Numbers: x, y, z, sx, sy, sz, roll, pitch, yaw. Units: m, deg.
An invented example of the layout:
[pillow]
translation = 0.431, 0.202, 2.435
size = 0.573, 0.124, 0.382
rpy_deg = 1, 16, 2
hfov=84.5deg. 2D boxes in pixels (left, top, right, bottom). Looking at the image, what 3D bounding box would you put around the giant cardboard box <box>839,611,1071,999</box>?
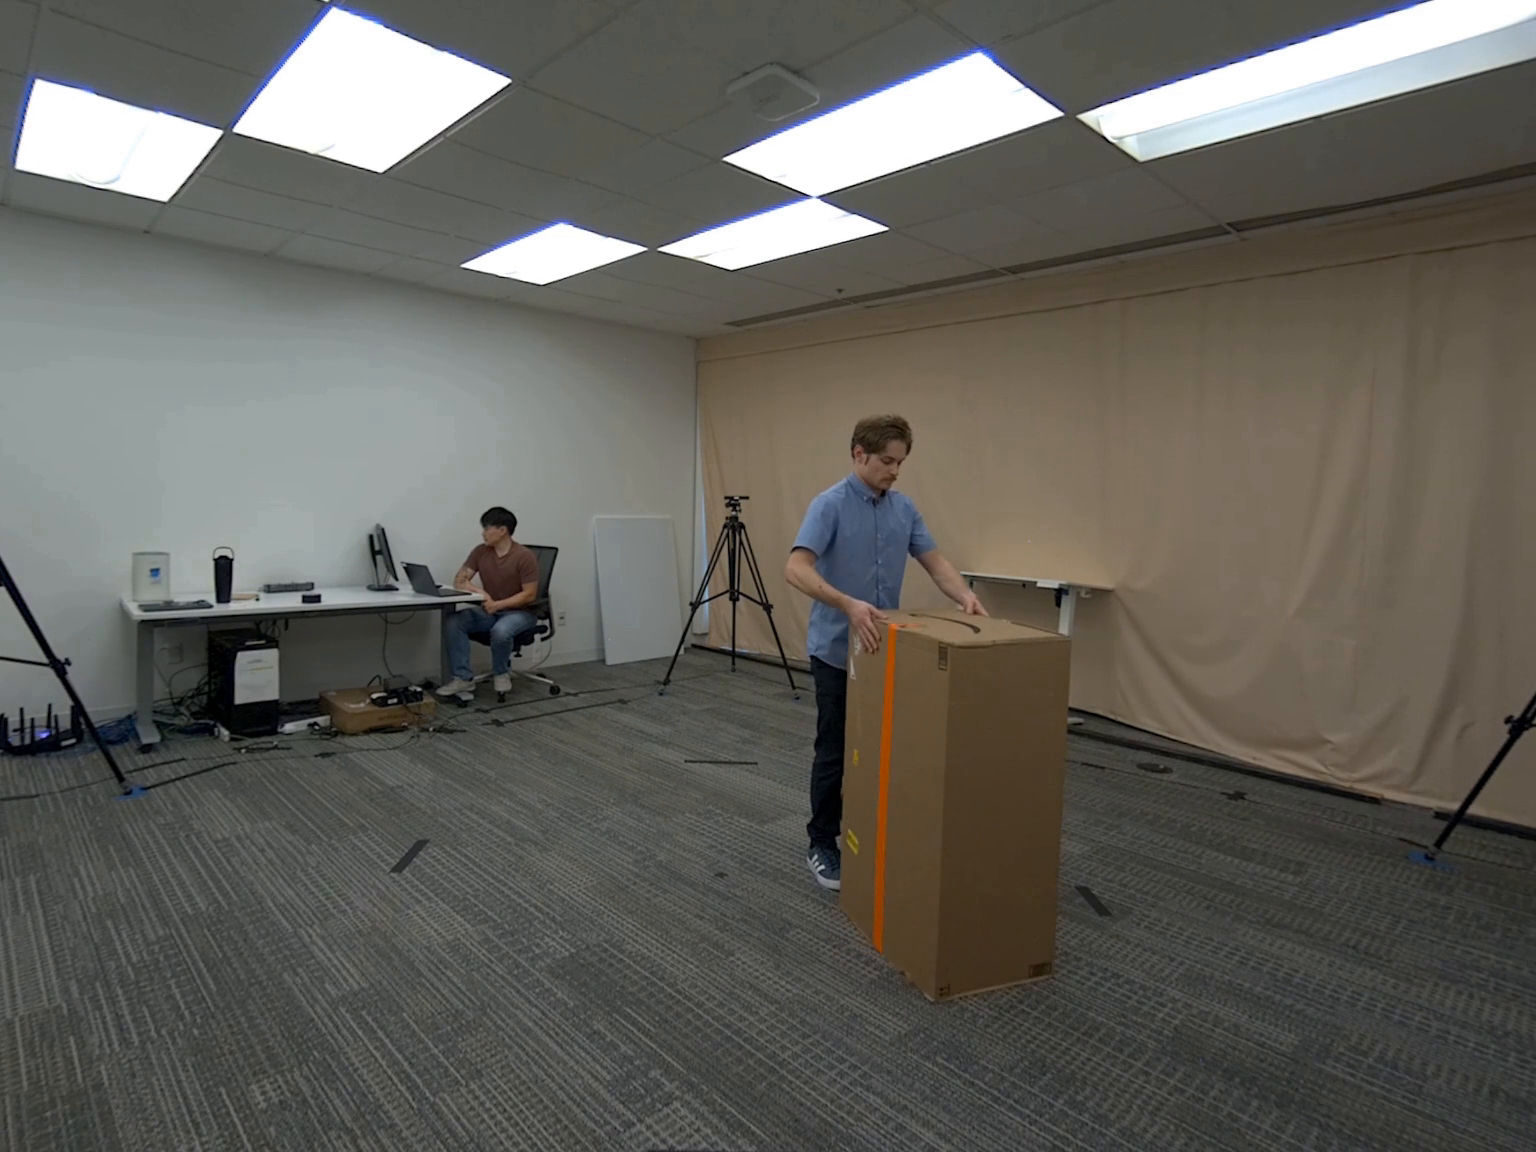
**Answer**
[giant cardboard box]
translation = 0.553, 0.656, 2.640
size = 0.420, 1.023, 0.588
rpy_deg = 0, 4, -21
